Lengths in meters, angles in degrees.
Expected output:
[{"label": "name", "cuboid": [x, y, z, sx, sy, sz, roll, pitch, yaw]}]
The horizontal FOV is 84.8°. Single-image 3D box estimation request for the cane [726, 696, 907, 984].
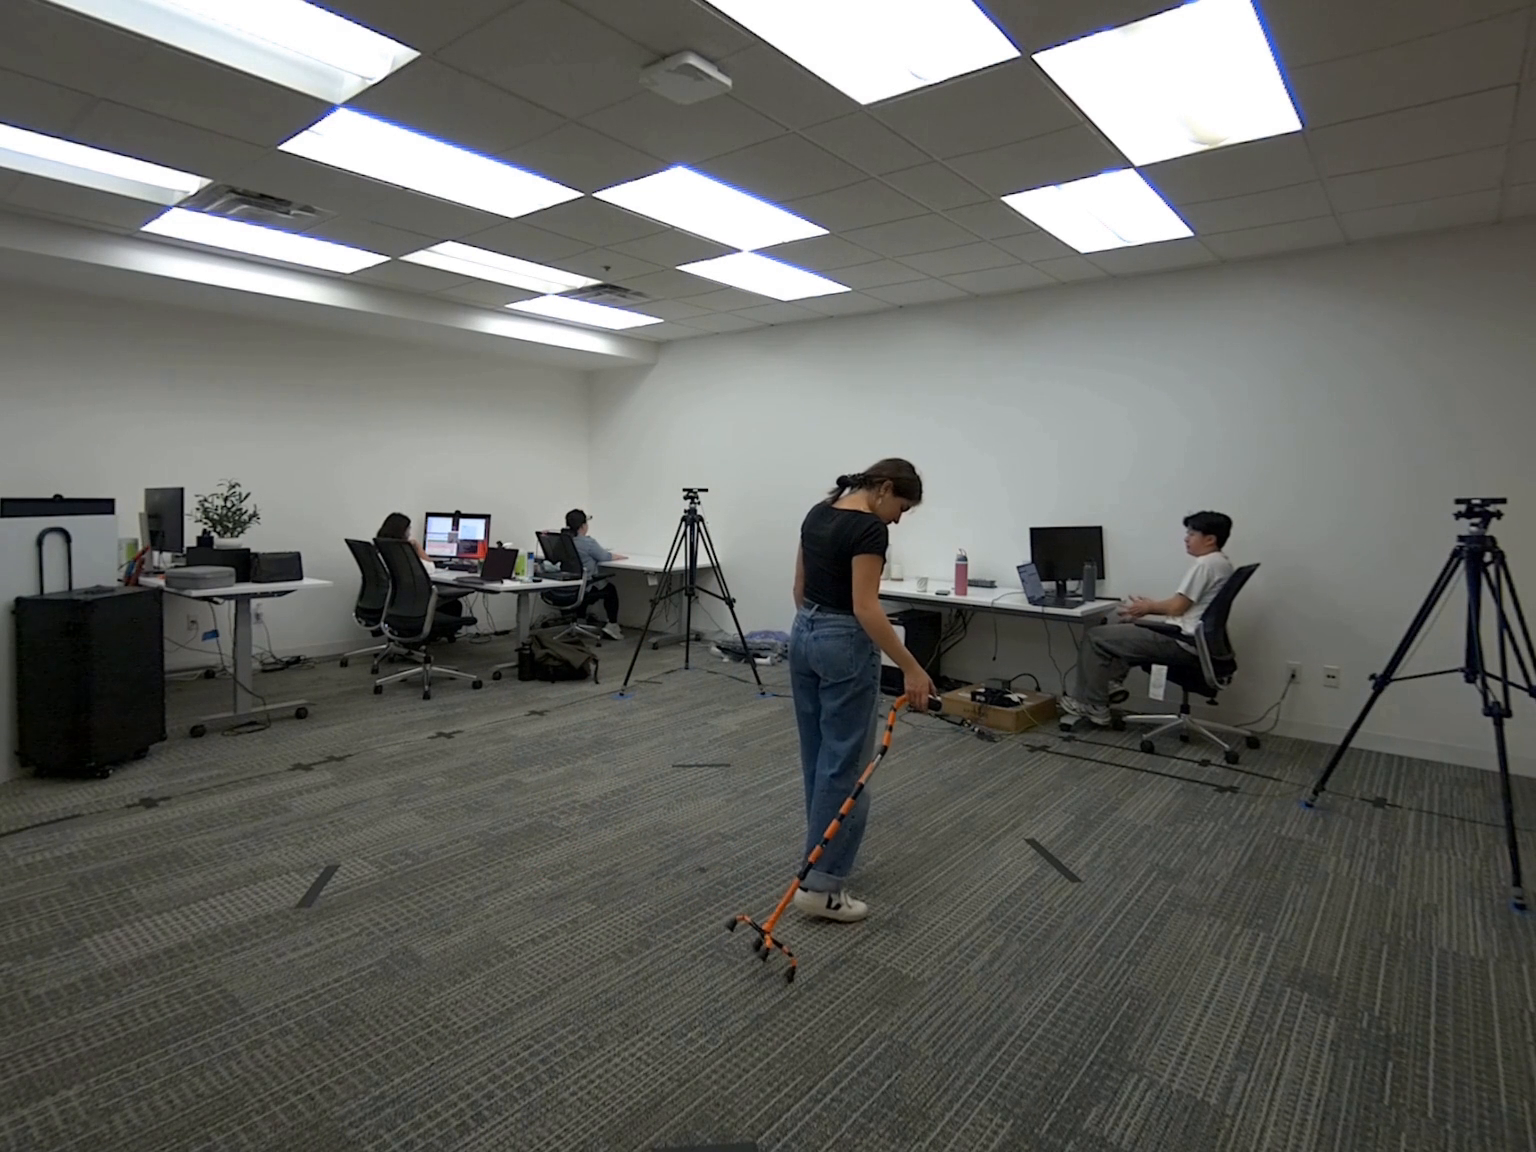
[{"label": "cane", "cuboid": [0.231, 0.735, 2.578, 0.147, 0.909, 0.213, 44, -16, -25]}]
